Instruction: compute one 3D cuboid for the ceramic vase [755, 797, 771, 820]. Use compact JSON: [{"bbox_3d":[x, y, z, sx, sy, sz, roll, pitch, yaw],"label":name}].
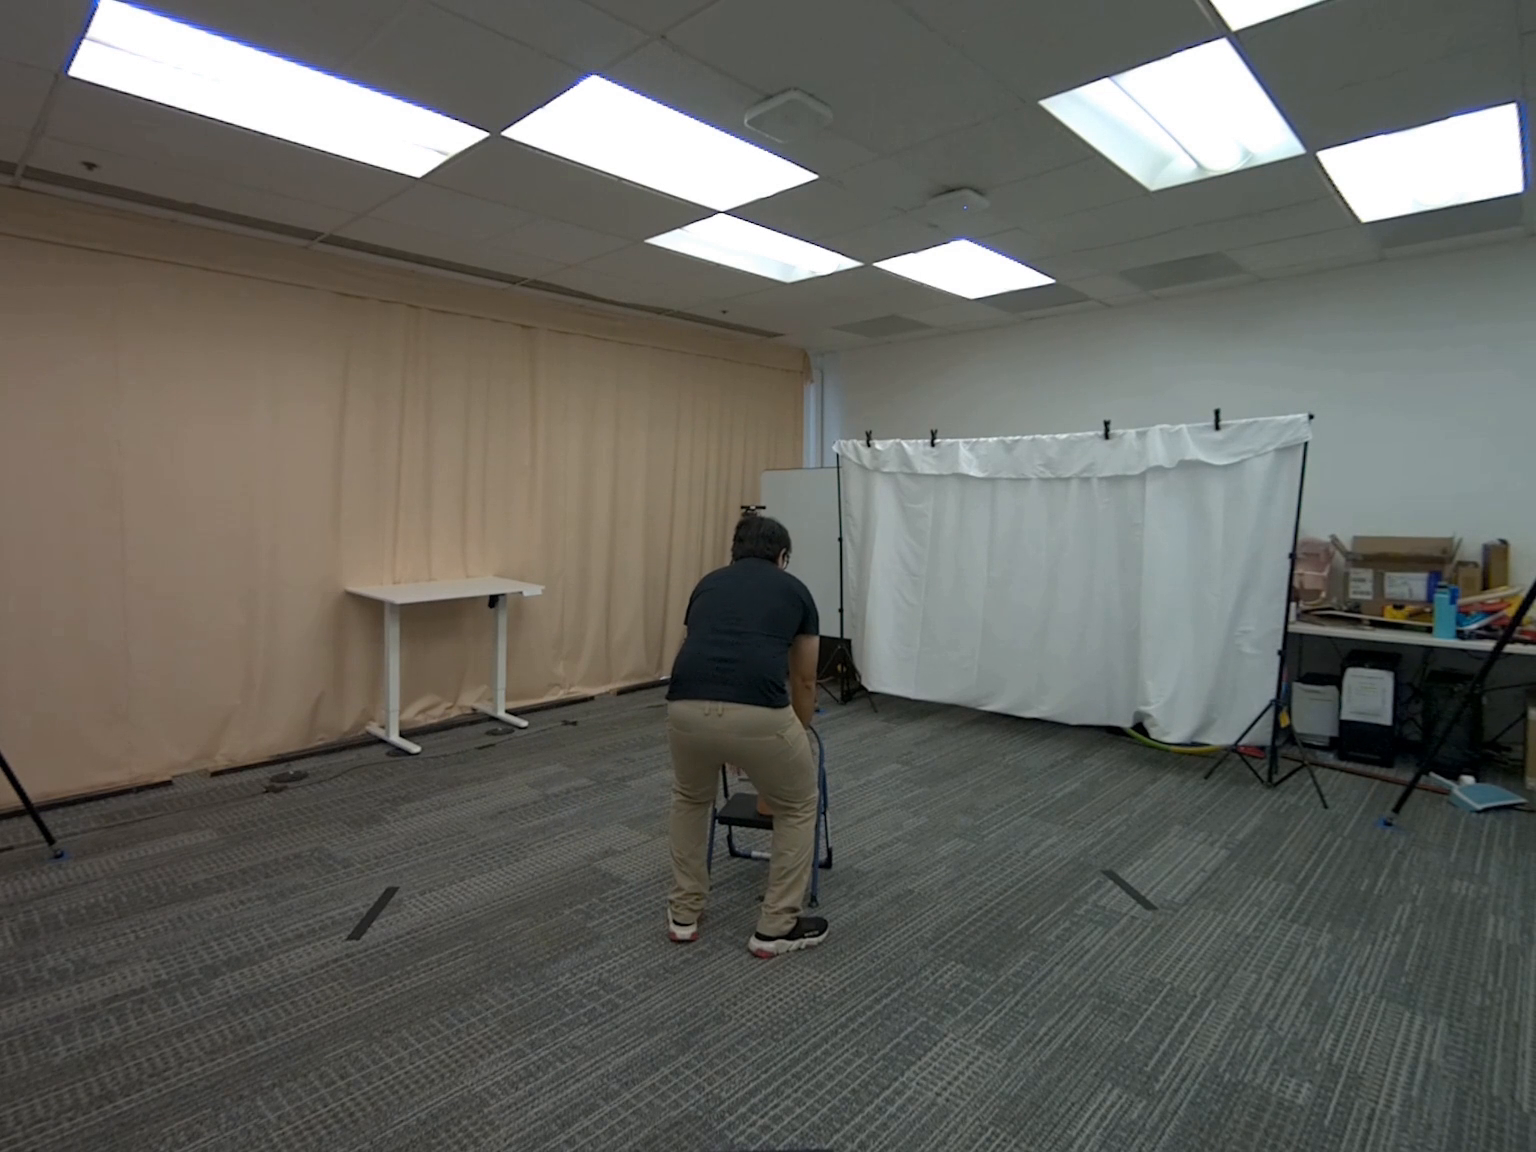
[{"bbox_3d":[0.006,0.750,3.086,0.131,0.218,0.164,-11,13,-42],"label":"ceramic vase"}]
